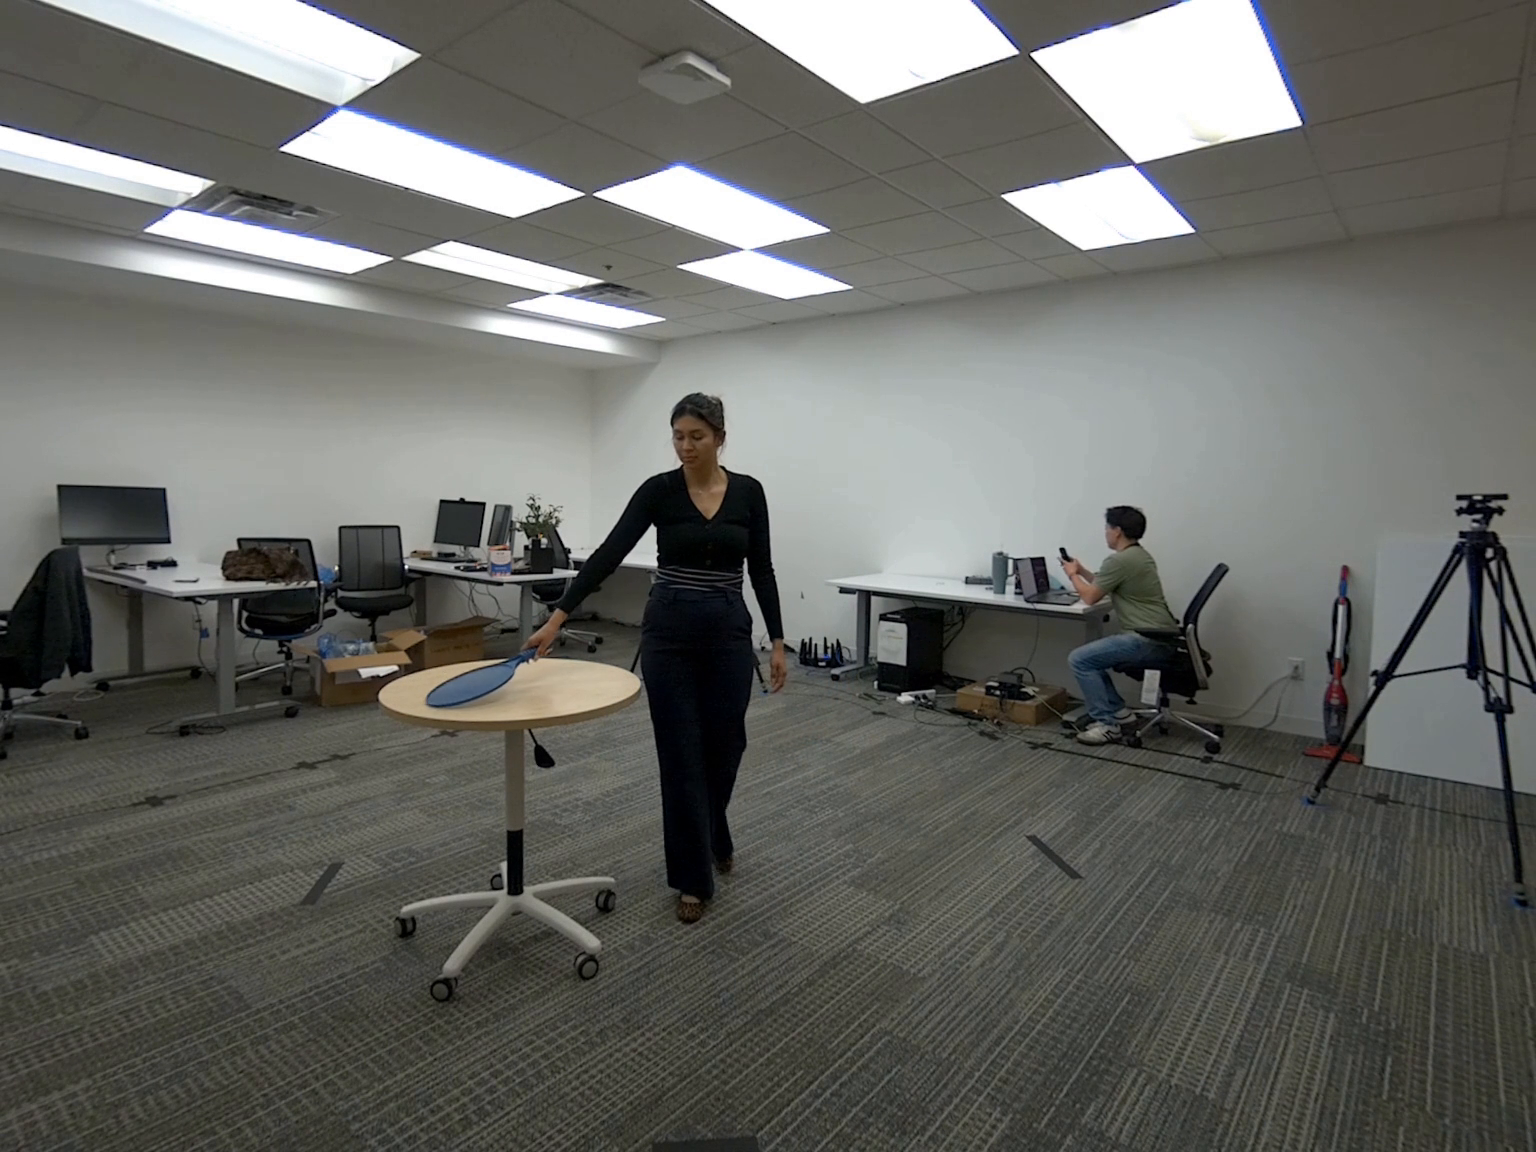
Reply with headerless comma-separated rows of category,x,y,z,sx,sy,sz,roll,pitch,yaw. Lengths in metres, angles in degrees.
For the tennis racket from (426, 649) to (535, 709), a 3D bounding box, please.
tennis racket,-0.807,0.290,2.480,0.221,0.031,0.425,5,19,39
